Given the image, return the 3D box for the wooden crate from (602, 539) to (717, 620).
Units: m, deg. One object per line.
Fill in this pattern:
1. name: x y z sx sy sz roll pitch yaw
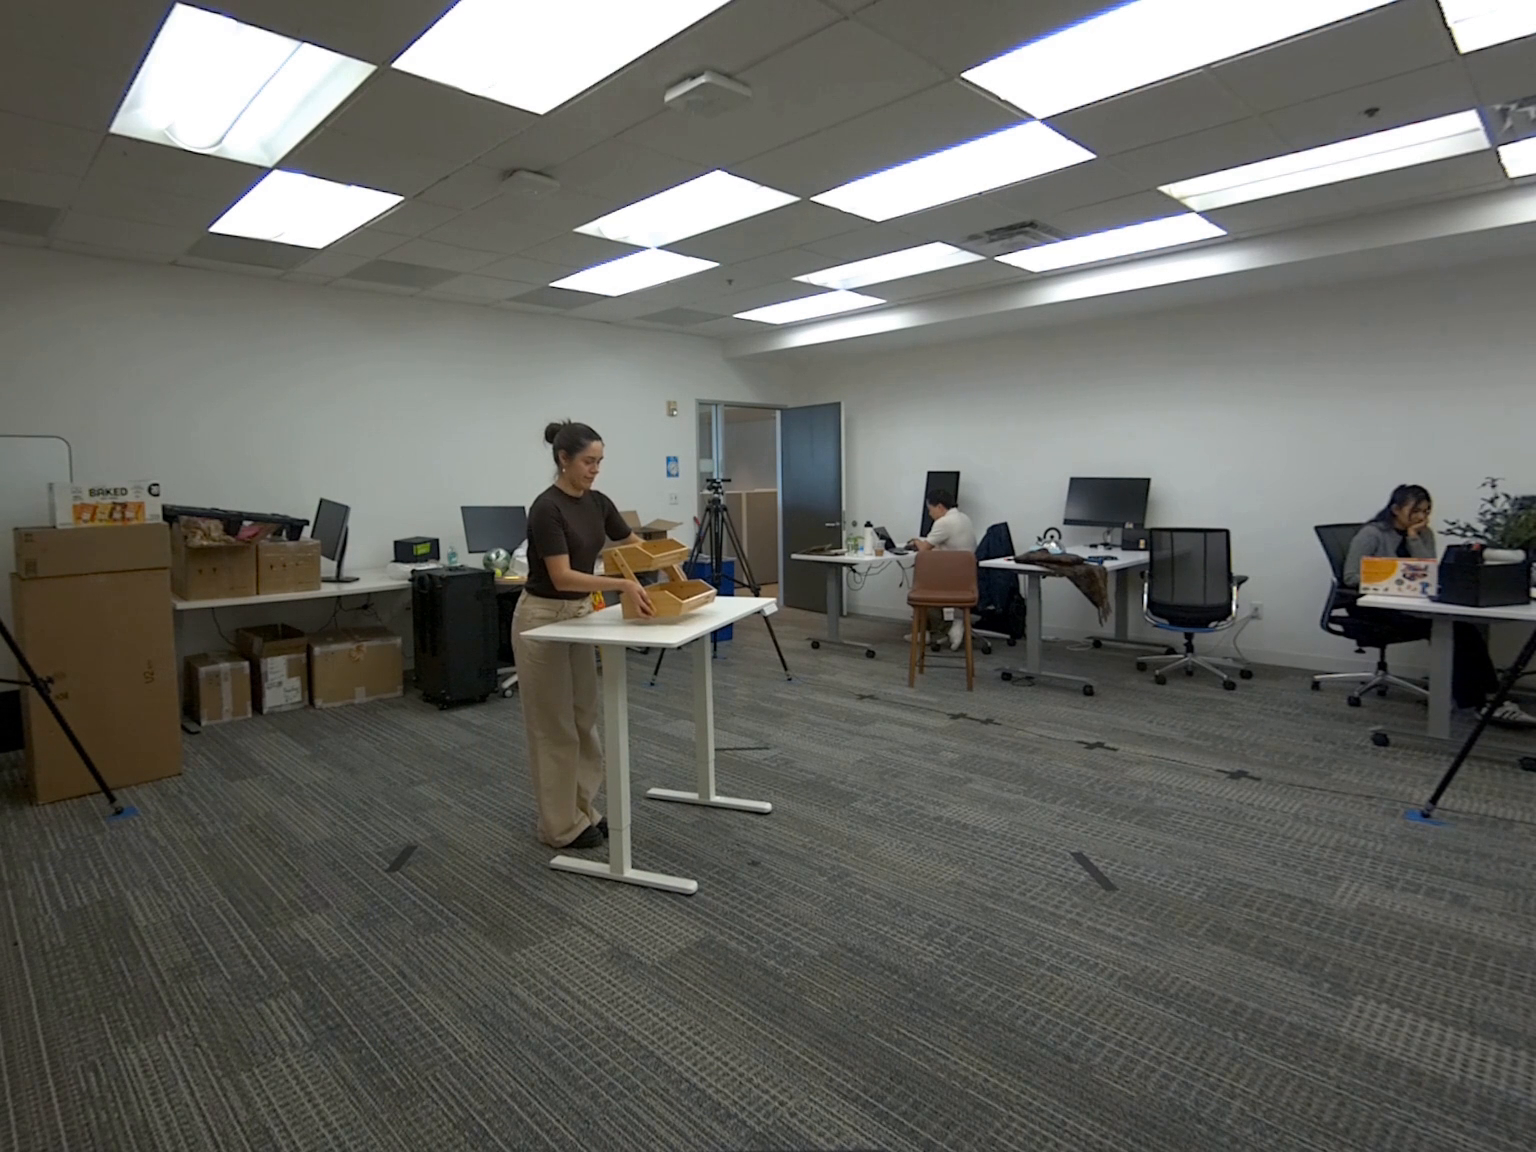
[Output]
1. wooden crate: -0.404 0.000 3.194 0.307 0.272 0.319 -6 4 22
